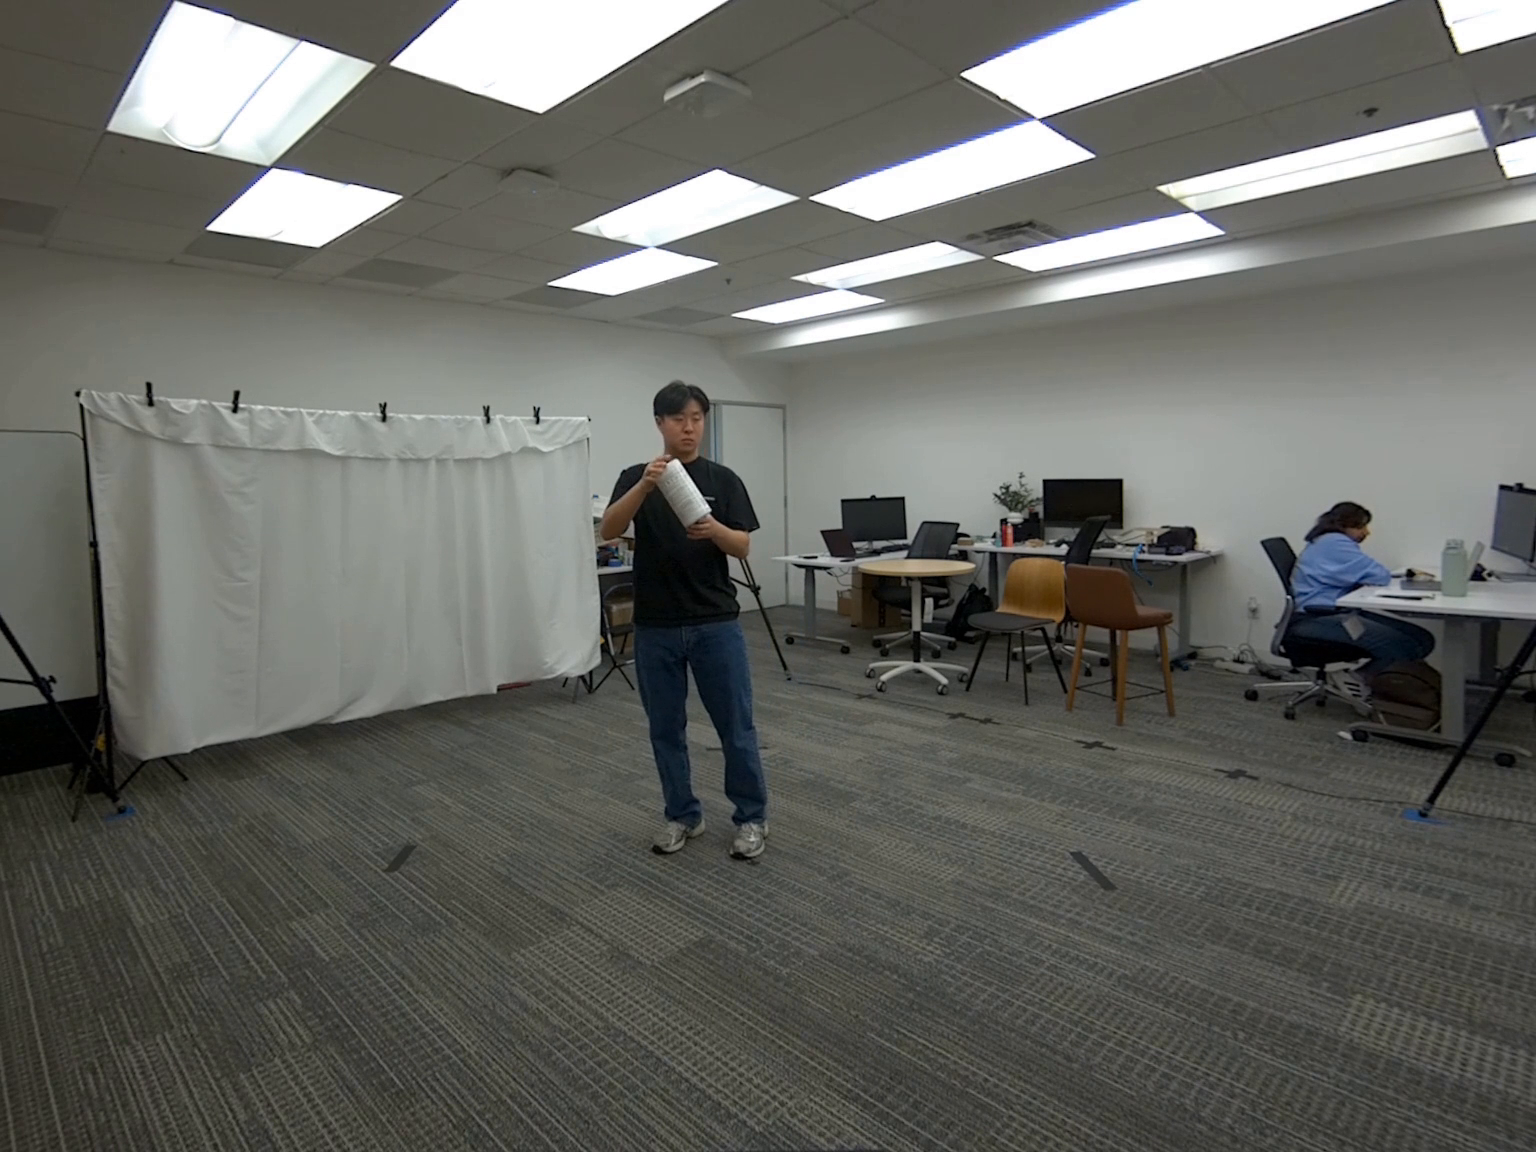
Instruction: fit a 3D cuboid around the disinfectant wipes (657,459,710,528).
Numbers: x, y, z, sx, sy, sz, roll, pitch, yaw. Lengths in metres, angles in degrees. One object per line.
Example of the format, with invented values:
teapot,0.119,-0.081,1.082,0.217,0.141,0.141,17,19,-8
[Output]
disinfectant wipes,-0.299,-0.274,2.892,0.118,0.218,0.118,-34,0,-1
